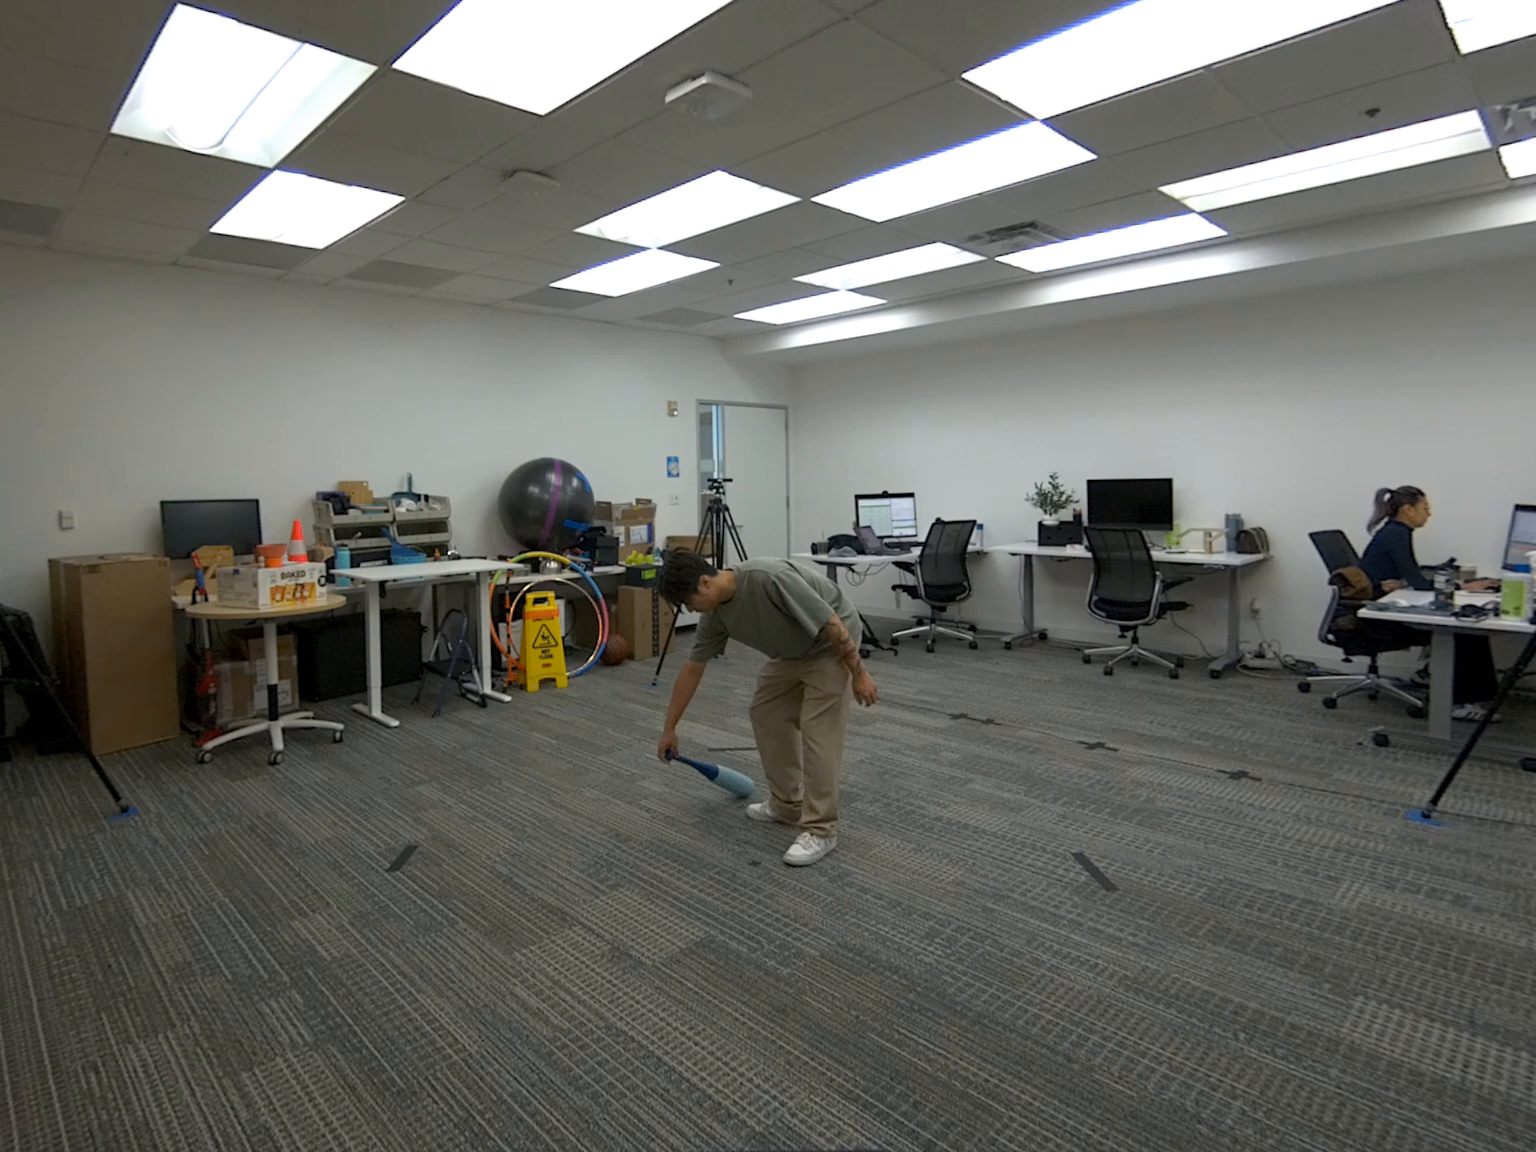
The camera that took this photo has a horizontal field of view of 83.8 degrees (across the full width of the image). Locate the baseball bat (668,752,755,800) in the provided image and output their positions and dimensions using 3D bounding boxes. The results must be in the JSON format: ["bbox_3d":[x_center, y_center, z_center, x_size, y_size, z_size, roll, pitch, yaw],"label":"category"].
[{"bbox_3d":[-0.242,0.832,3.617,0.092,0.090,0.522,4,-21,47],"label":"baseball bat"}]
